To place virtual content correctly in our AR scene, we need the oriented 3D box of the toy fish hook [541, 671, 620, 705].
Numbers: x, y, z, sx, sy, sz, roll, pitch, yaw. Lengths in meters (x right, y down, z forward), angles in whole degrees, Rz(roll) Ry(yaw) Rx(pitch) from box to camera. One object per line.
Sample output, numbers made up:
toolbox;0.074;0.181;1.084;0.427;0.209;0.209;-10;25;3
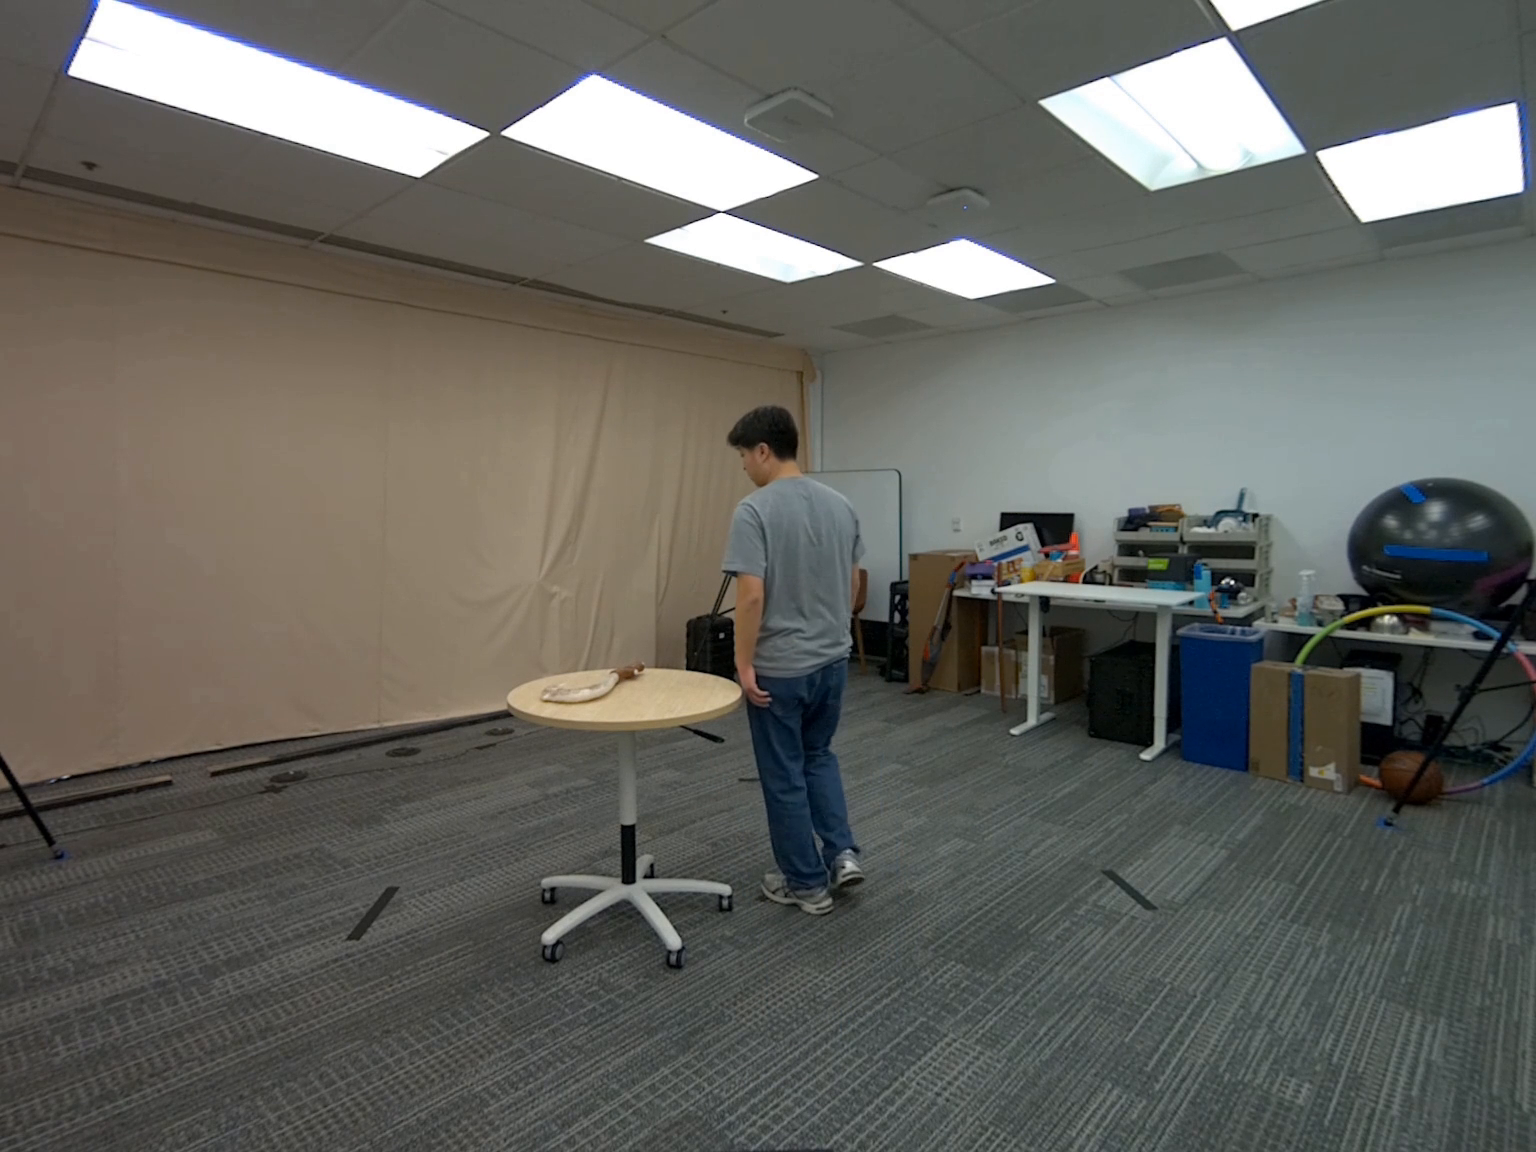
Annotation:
toy fish hook;-0.586;0.360;2.831;0.229;0.048;0.498;1;5;17
